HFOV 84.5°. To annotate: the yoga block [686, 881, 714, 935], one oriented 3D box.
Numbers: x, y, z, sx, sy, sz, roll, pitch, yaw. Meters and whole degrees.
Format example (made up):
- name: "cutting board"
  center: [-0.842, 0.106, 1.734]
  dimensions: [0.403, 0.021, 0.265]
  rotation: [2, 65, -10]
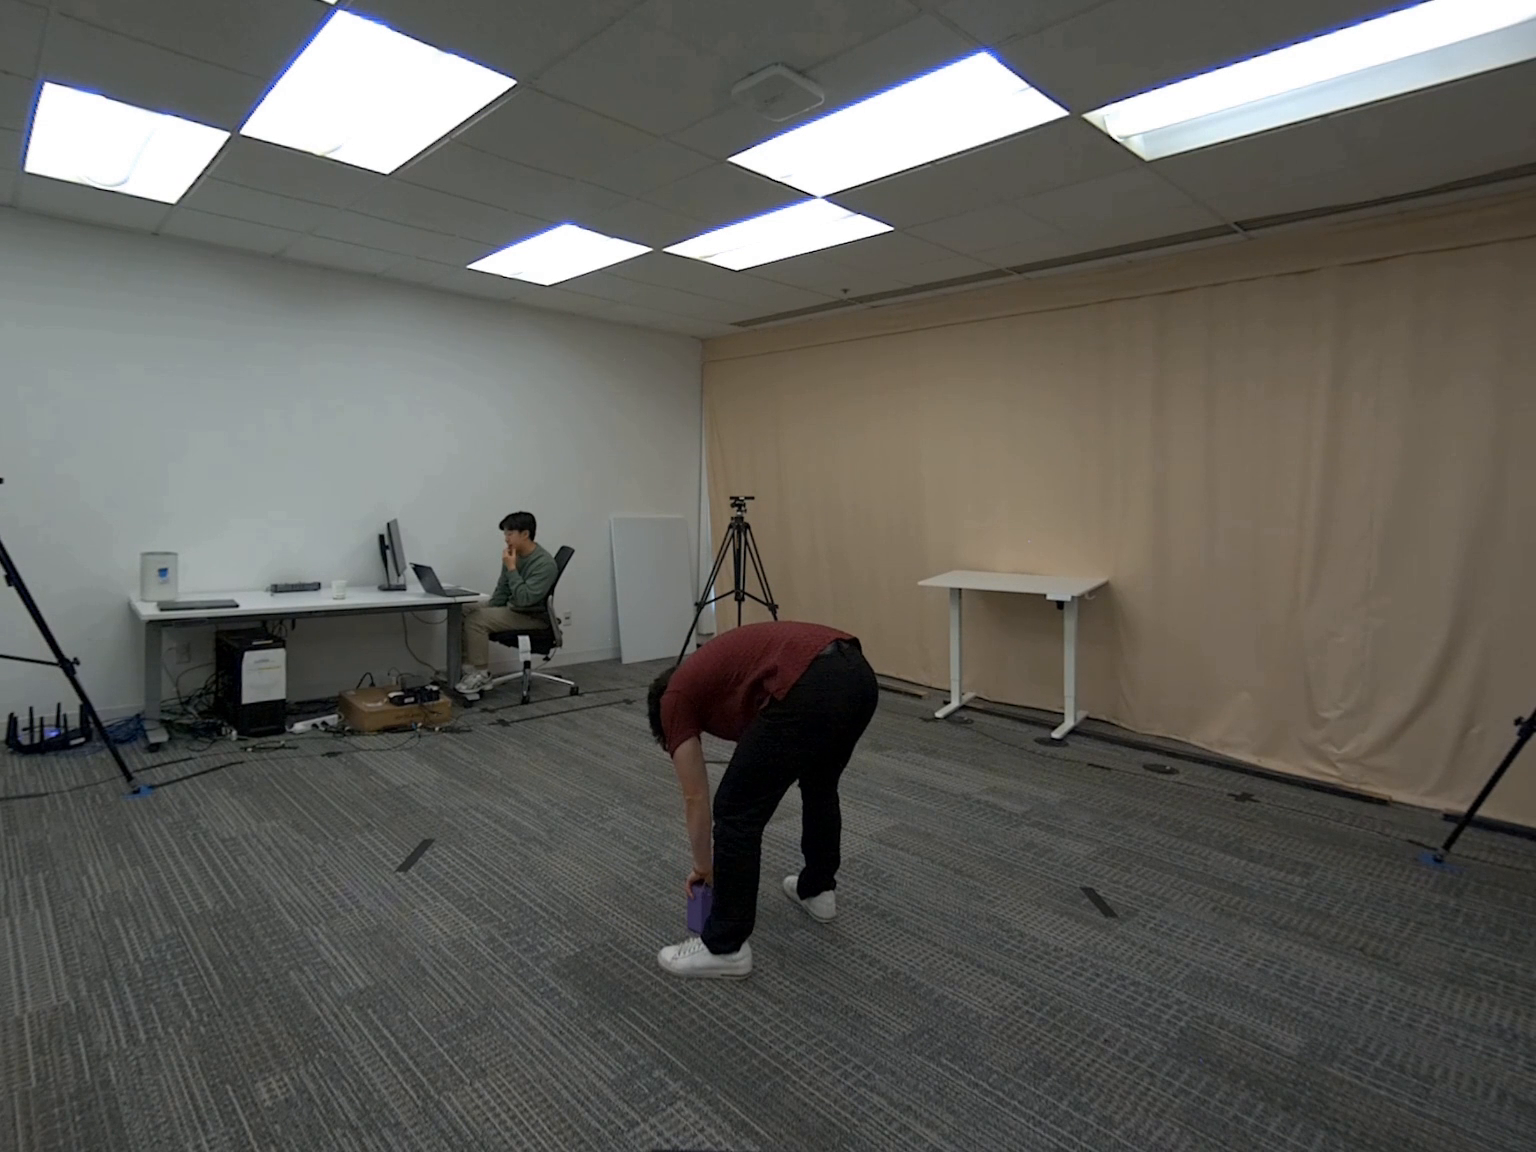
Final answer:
- name: "yoga block"
  center: [-0.165, 1.065, 2.765]
  dimensions: [0.078, 0.148, 0.225]
  rotation: [8, 9, 34]
